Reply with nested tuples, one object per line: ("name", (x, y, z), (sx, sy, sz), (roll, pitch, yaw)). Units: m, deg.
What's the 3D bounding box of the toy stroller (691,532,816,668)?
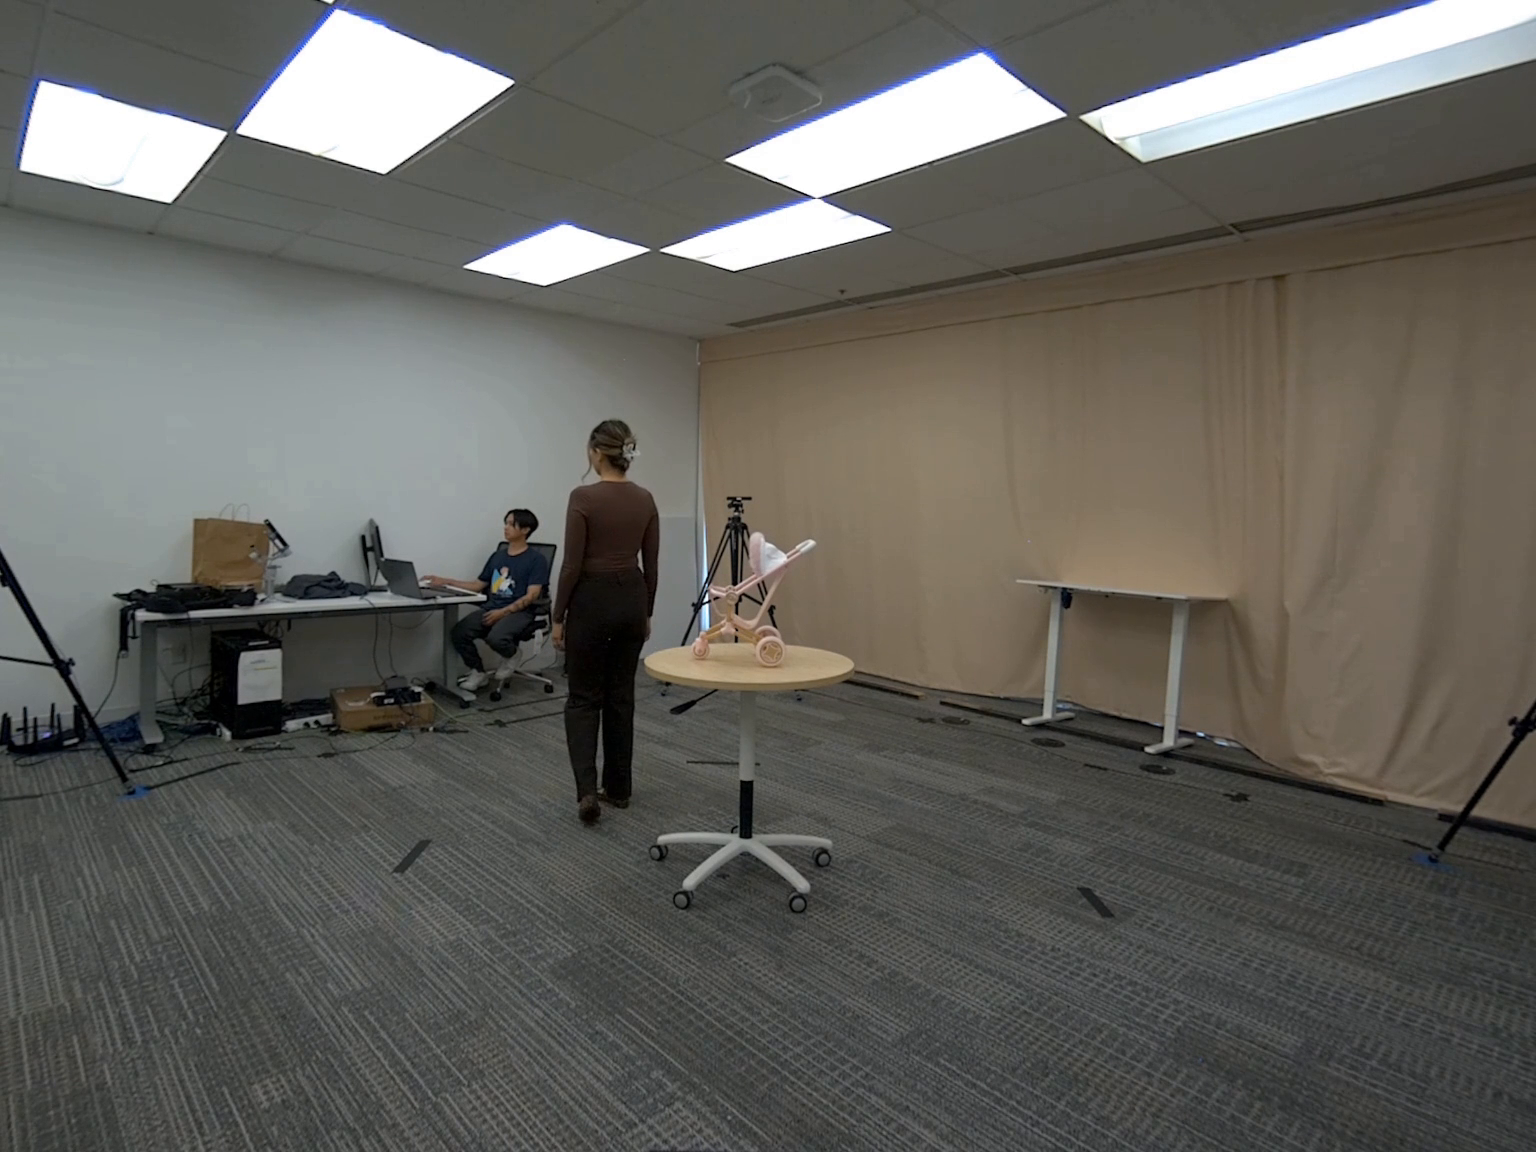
("toy stroller", (-0.070, 0.086, 3.083), (0.342, 0.534, 0.281), (15, 3, 1))
